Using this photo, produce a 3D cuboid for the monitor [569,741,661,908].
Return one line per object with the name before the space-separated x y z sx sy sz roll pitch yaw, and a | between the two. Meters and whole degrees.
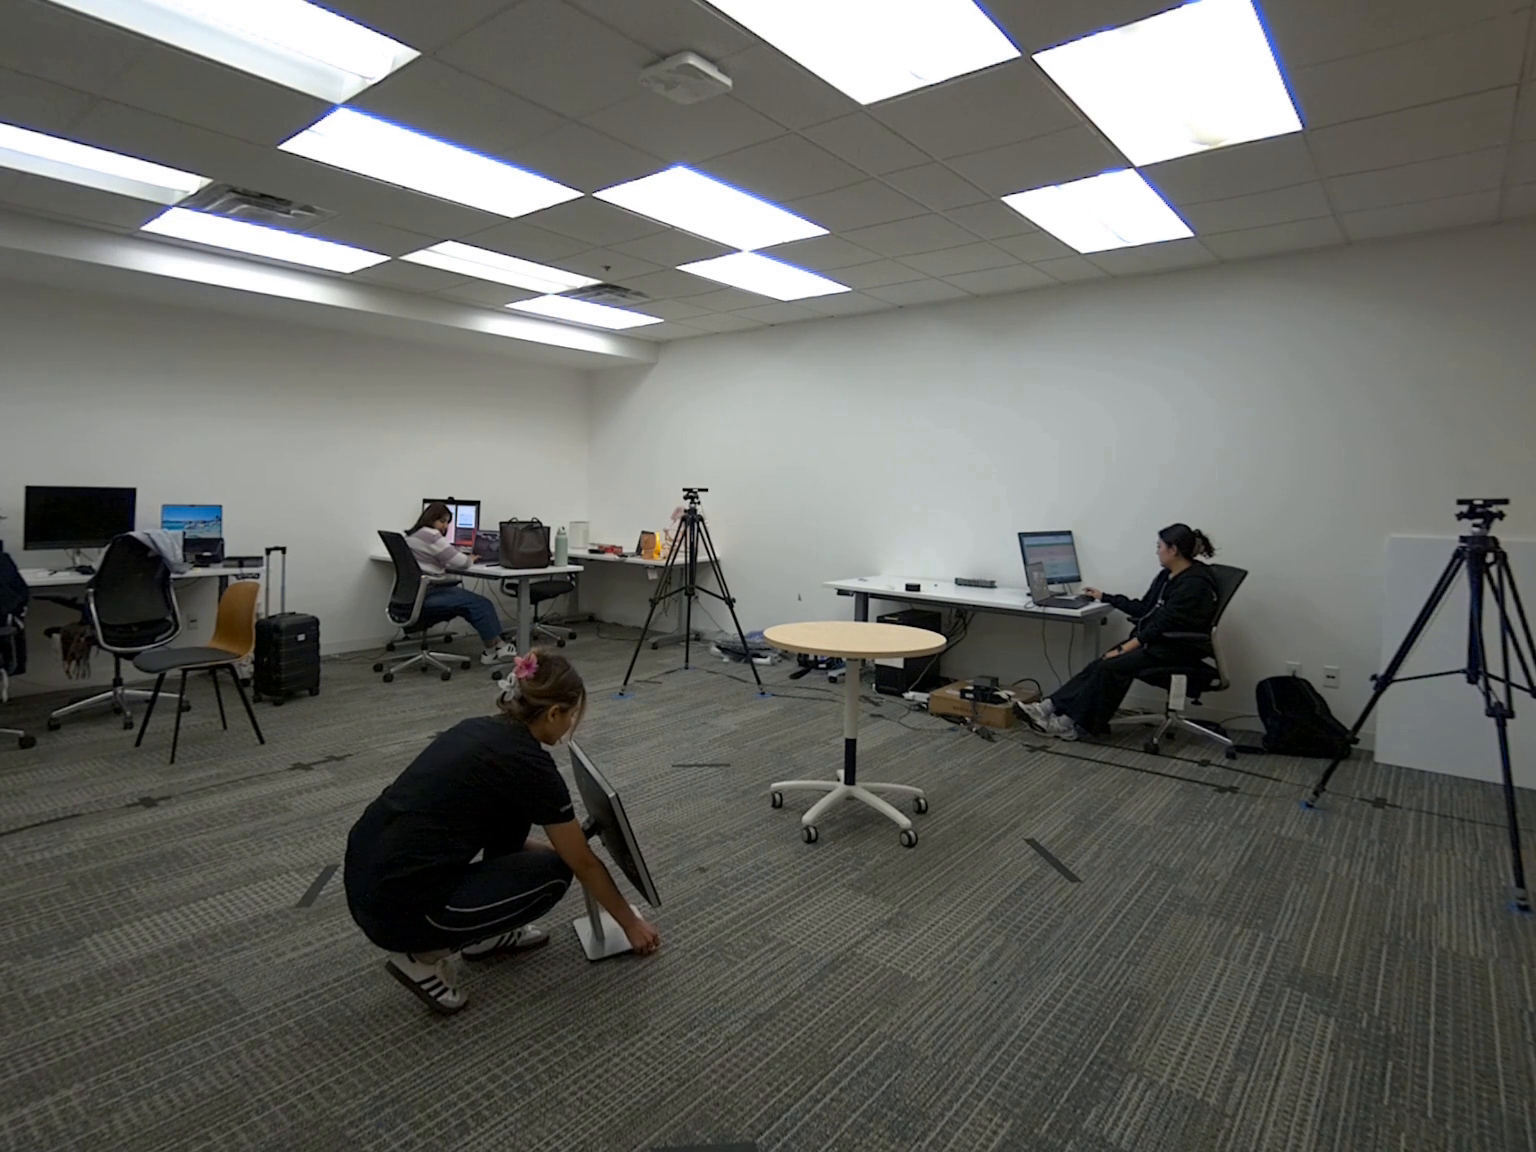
monitor | -0.511 0.838 2.596 0.183 0.519 0.553 -9 7 -25
